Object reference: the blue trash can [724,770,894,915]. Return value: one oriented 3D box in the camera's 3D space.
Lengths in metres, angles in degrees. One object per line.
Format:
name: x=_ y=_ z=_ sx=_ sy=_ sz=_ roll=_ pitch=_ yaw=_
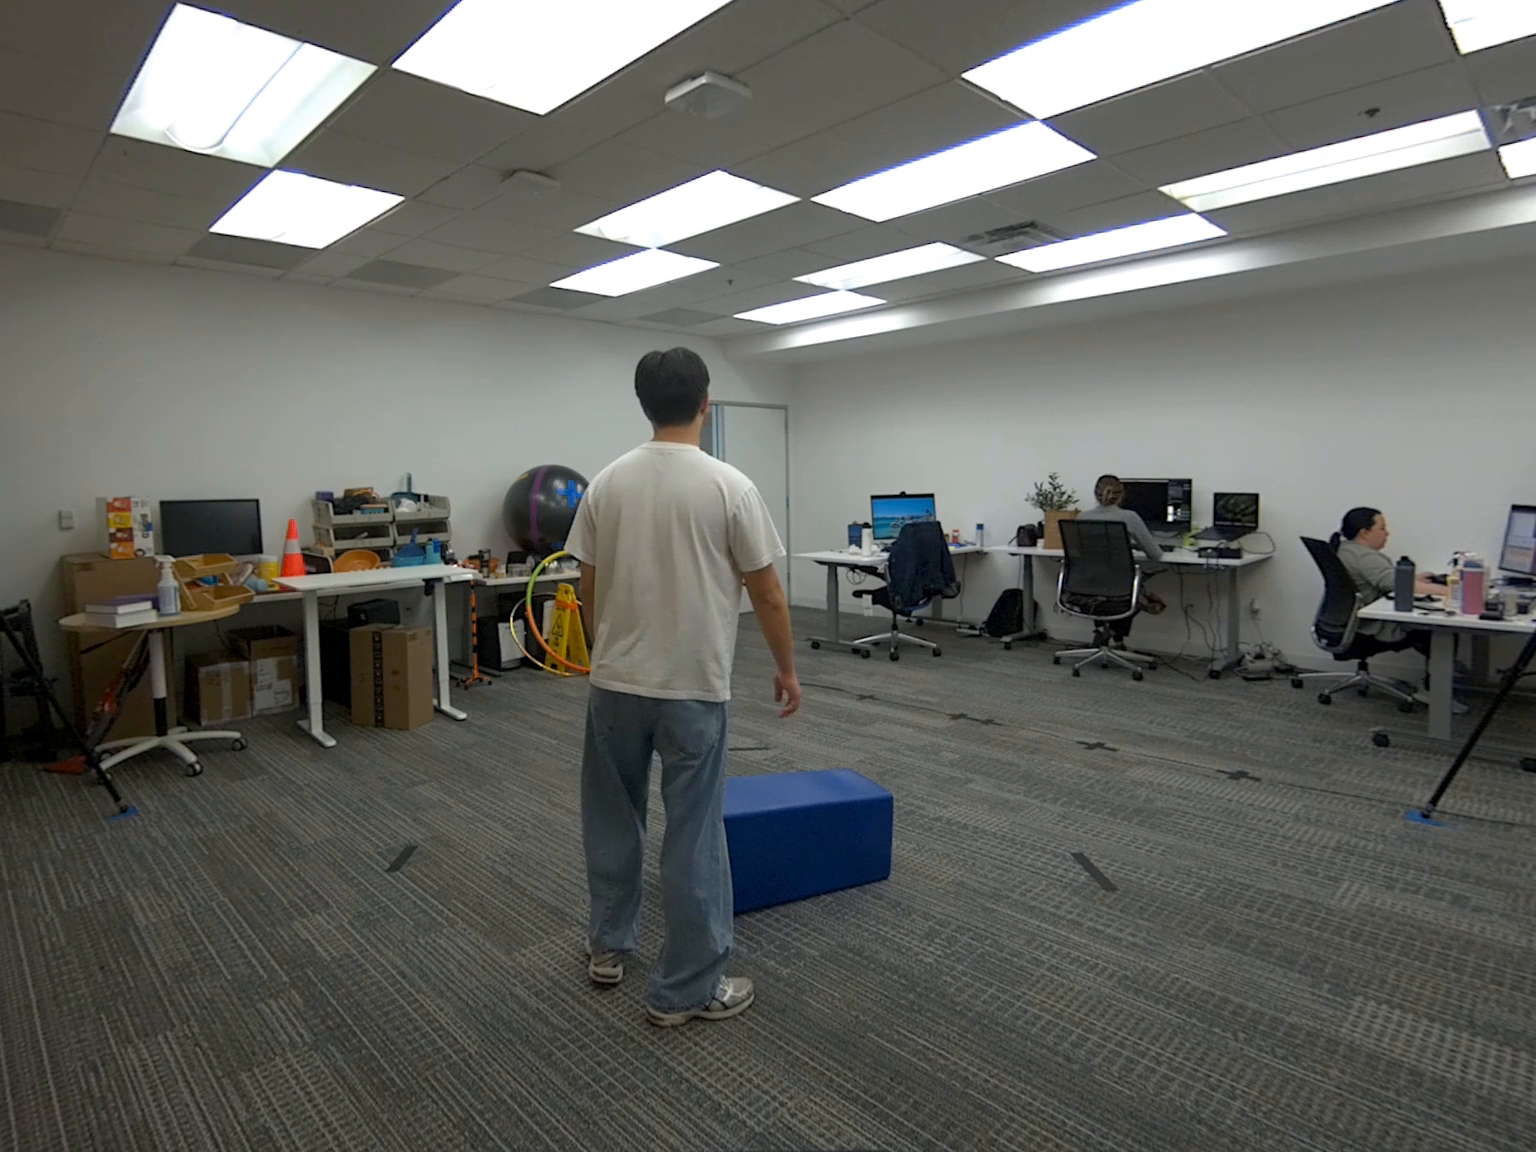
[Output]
blue trash can: x=0.047 y=0.899 z=2.963 sx=0.698 sy=0.377 sz=0.383 roll=-1 pitch=4 yaw=-24
